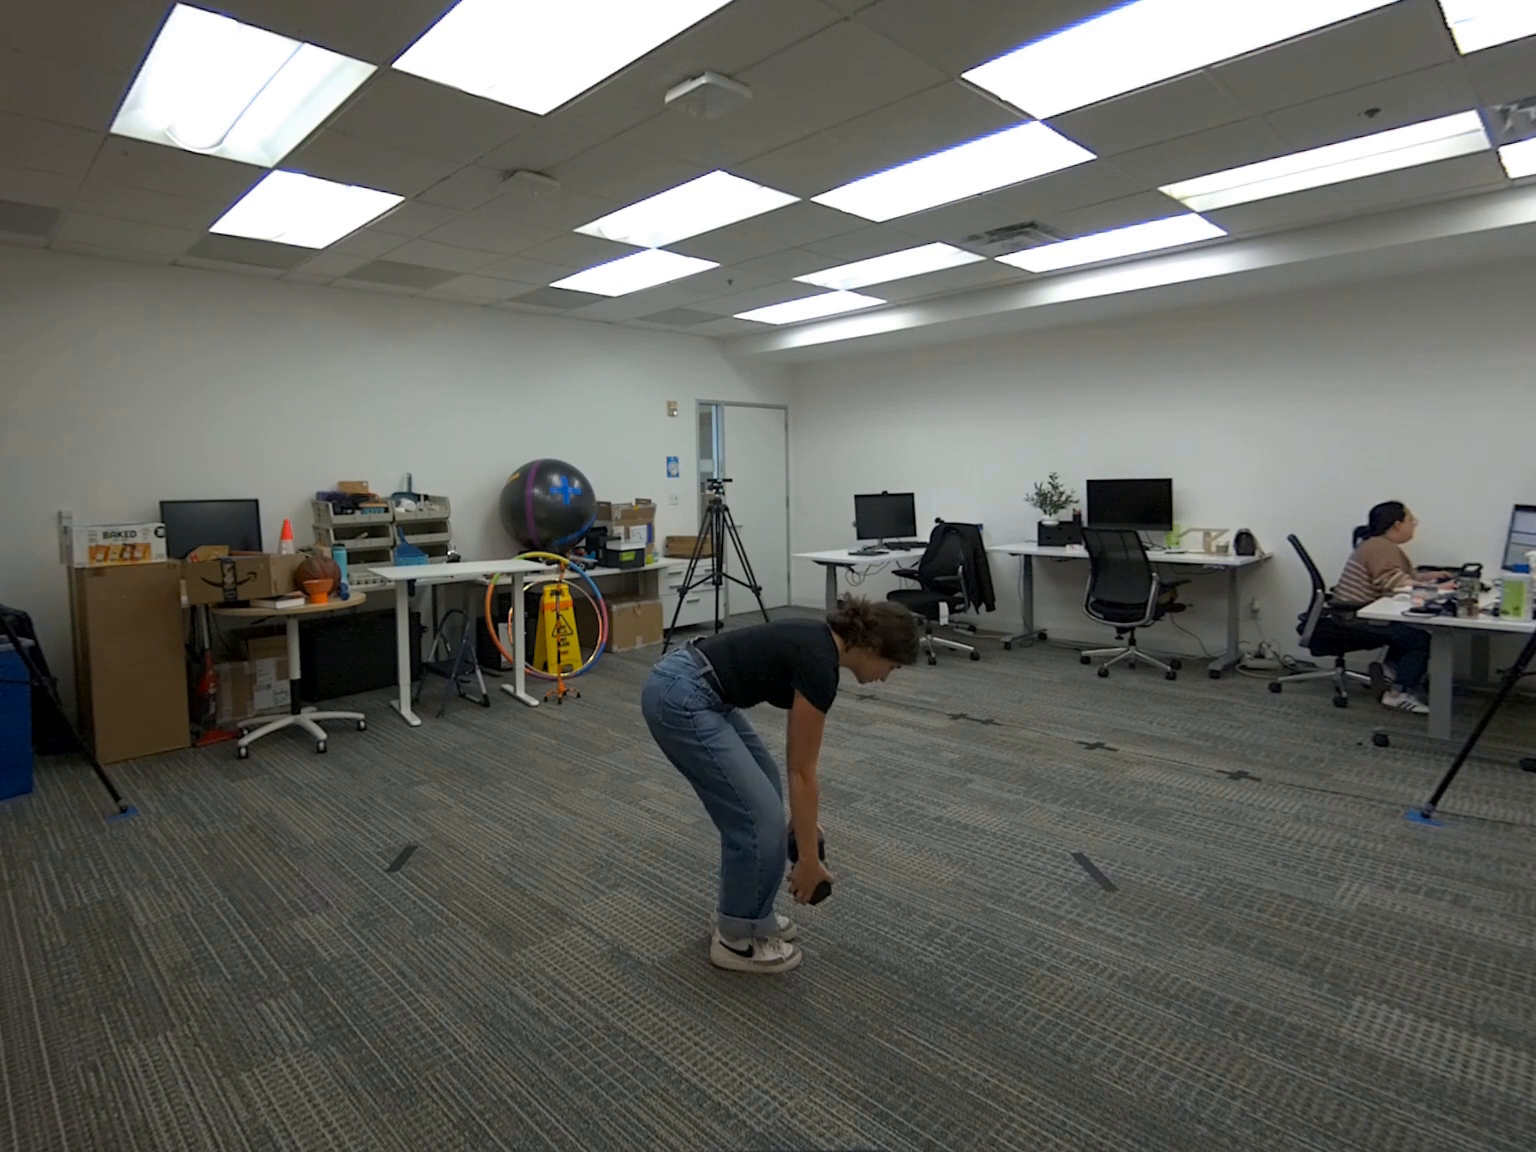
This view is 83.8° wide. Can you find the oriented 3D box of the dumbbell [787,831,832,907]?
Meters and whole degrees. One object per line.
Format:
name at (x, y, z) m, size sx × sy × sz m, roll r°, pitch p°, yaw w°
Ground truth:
dumbbell at (0.104, 0.846, 2.518) m, size 0.122 × 0.108 × 0.295 m, roll 39°, pitch 4°, yaw -6°
